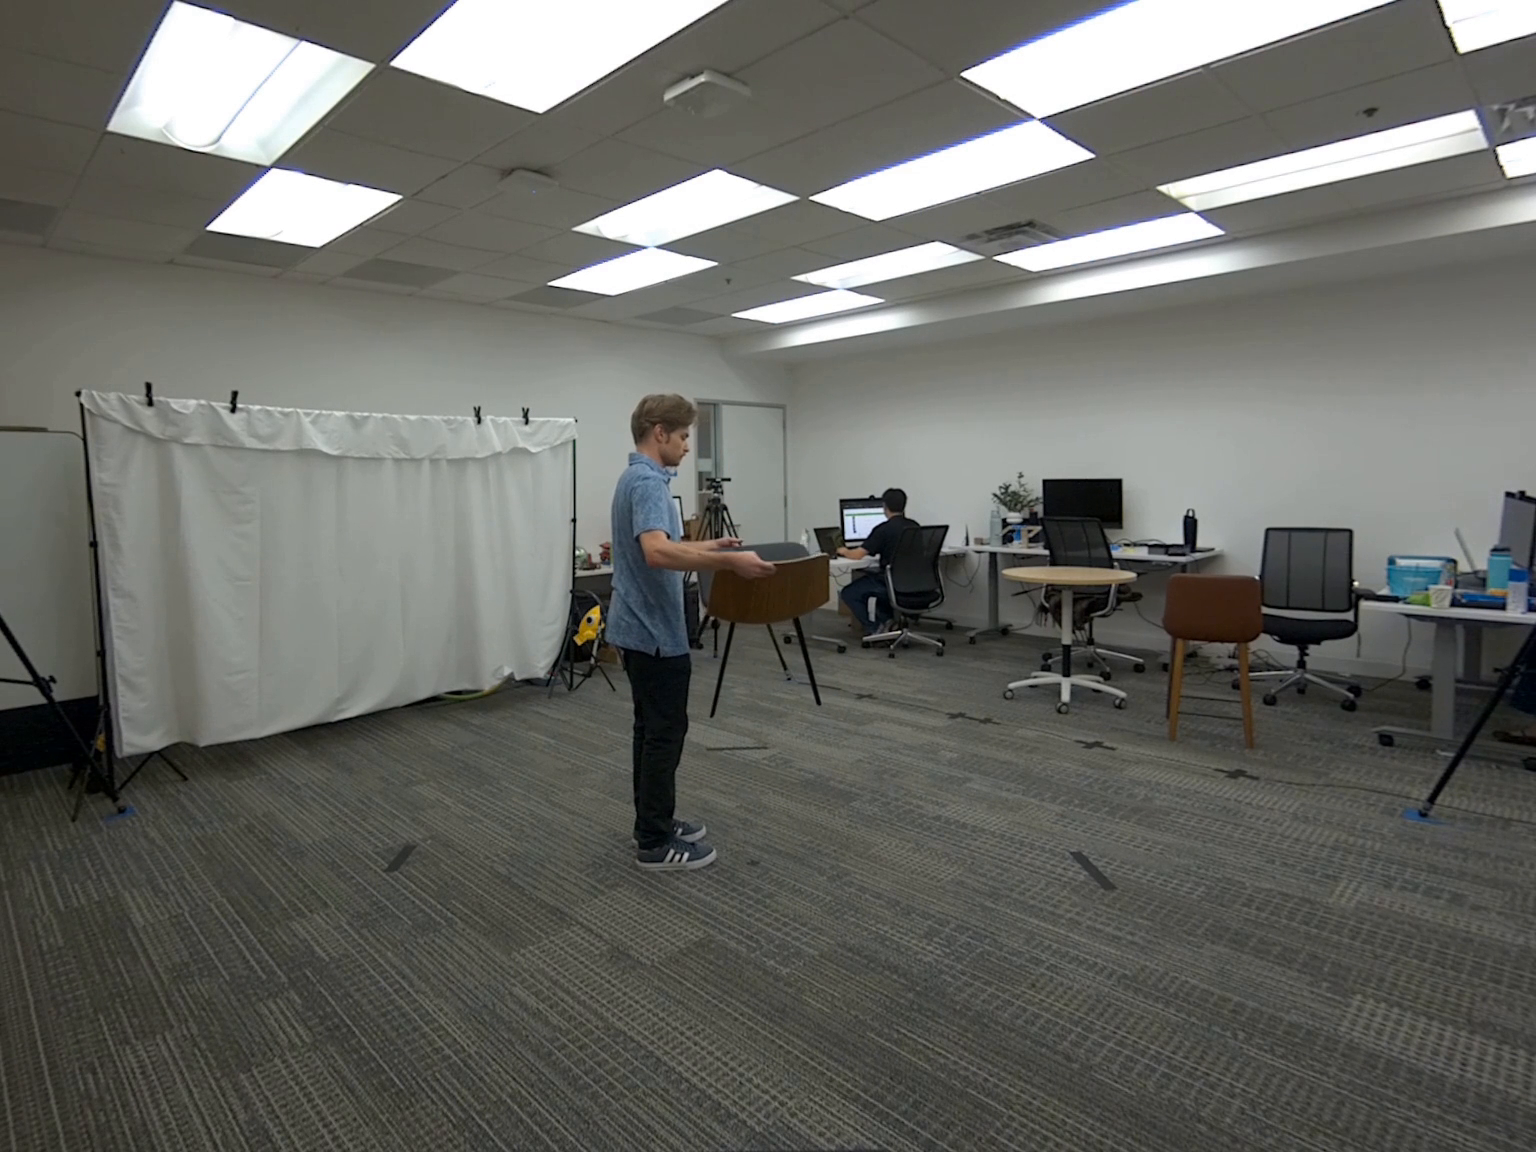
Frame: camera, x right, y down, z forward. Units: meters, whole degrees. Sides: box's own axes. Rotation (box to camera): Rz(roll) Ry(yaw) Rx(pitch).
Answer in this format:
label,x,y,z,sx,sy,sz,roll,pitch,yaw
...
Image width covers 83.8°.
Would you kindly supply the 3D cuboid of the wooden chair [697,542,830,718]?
label,x,y,z,sx,sy,sz,roll,pitch,yaw
wooden chair,-0.038,0.073,3.321,0.475,0.854,0.540,-5,46,-7
